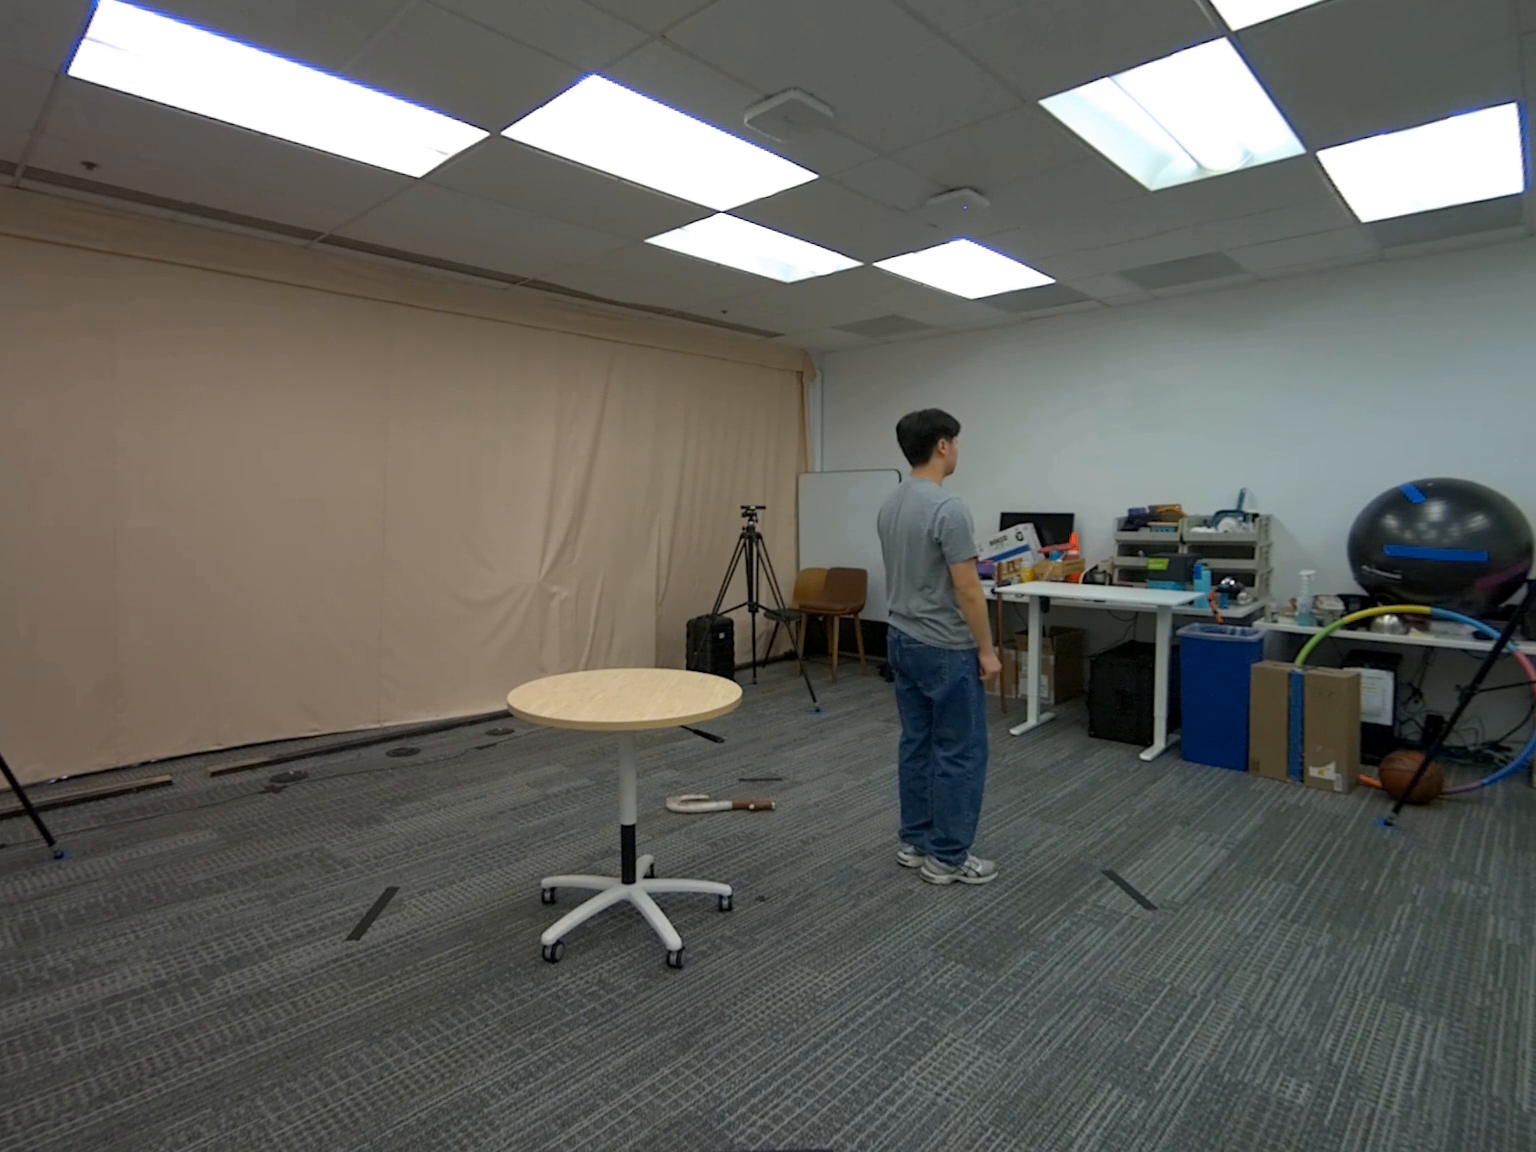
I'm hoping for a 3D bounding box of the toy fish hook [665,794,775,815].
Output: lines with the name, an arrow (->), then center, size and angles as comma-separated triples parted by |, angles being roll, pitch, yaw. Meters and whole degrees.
toy fish hook -> -0.220, 1.047, 3.911 | 0.507, 0.048, 0.225 | 0, 5, 0
